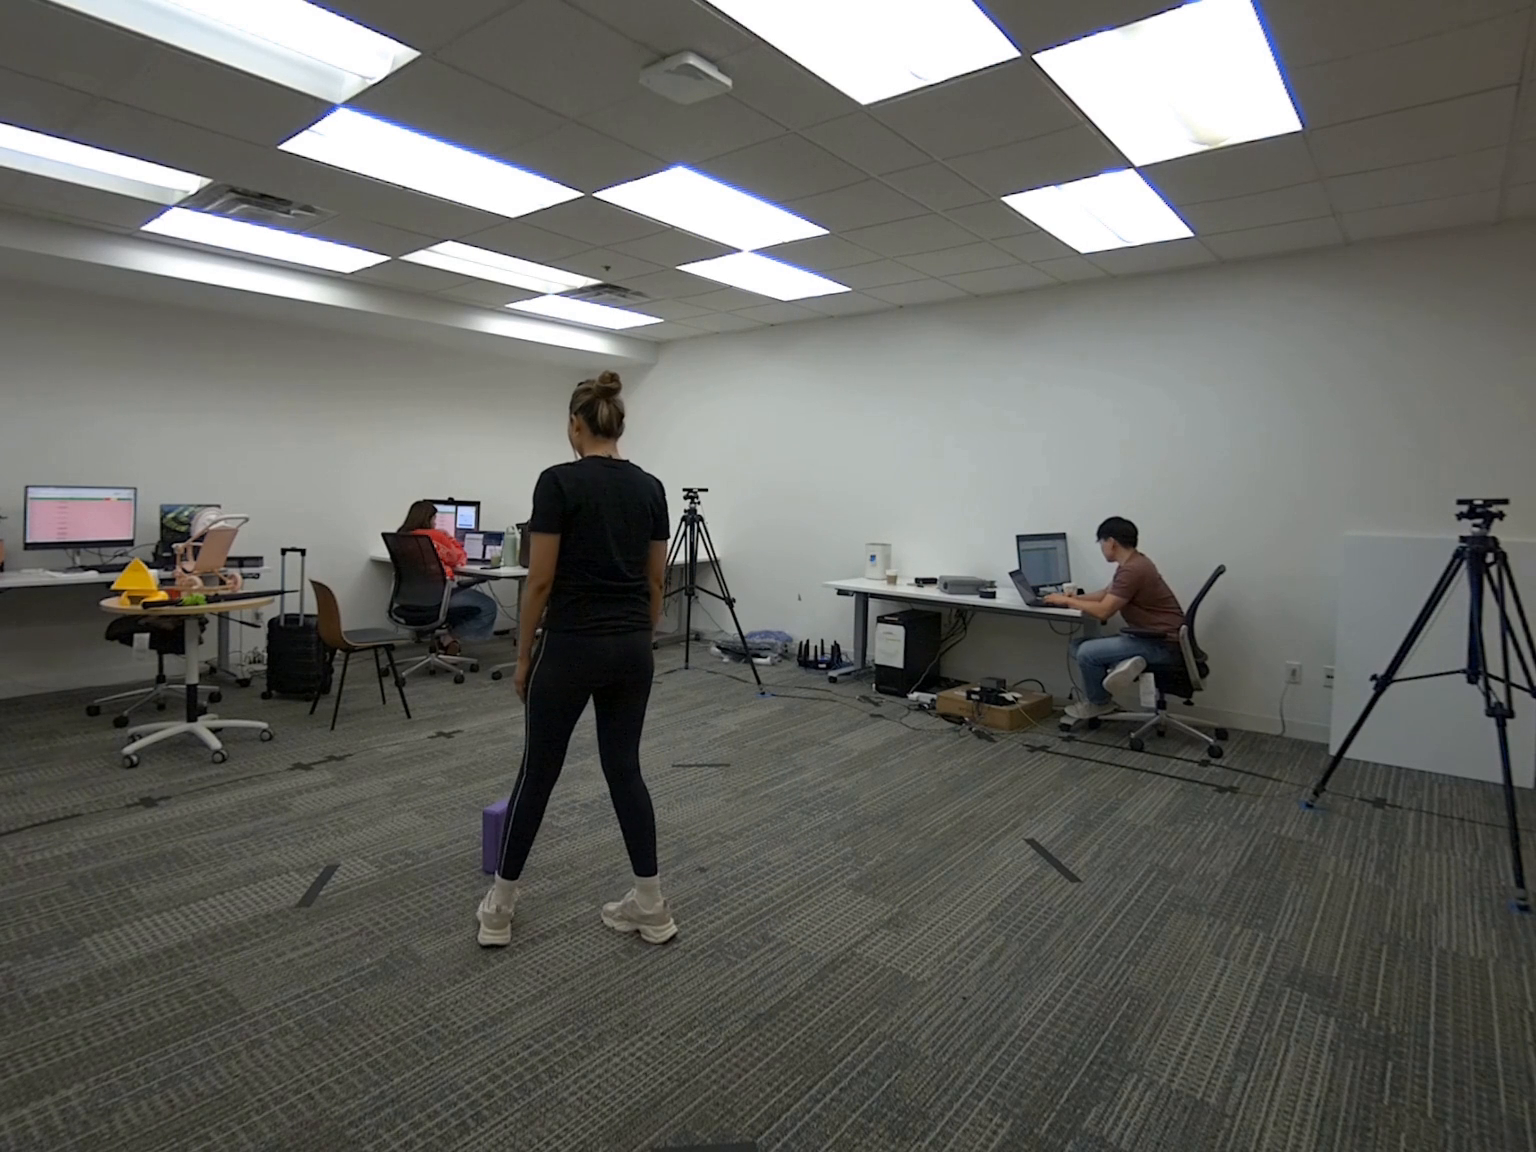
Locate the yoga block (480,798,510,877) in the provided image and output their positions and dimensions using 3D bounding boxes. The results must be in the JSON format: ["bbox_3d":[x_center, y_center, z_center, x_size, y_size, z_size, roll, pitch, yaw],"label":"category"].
[{"bbox_3d":[-0.979,0.940,3.097,0.078,0.228,0.146,4,5,24],"label":"yoga block"}]
